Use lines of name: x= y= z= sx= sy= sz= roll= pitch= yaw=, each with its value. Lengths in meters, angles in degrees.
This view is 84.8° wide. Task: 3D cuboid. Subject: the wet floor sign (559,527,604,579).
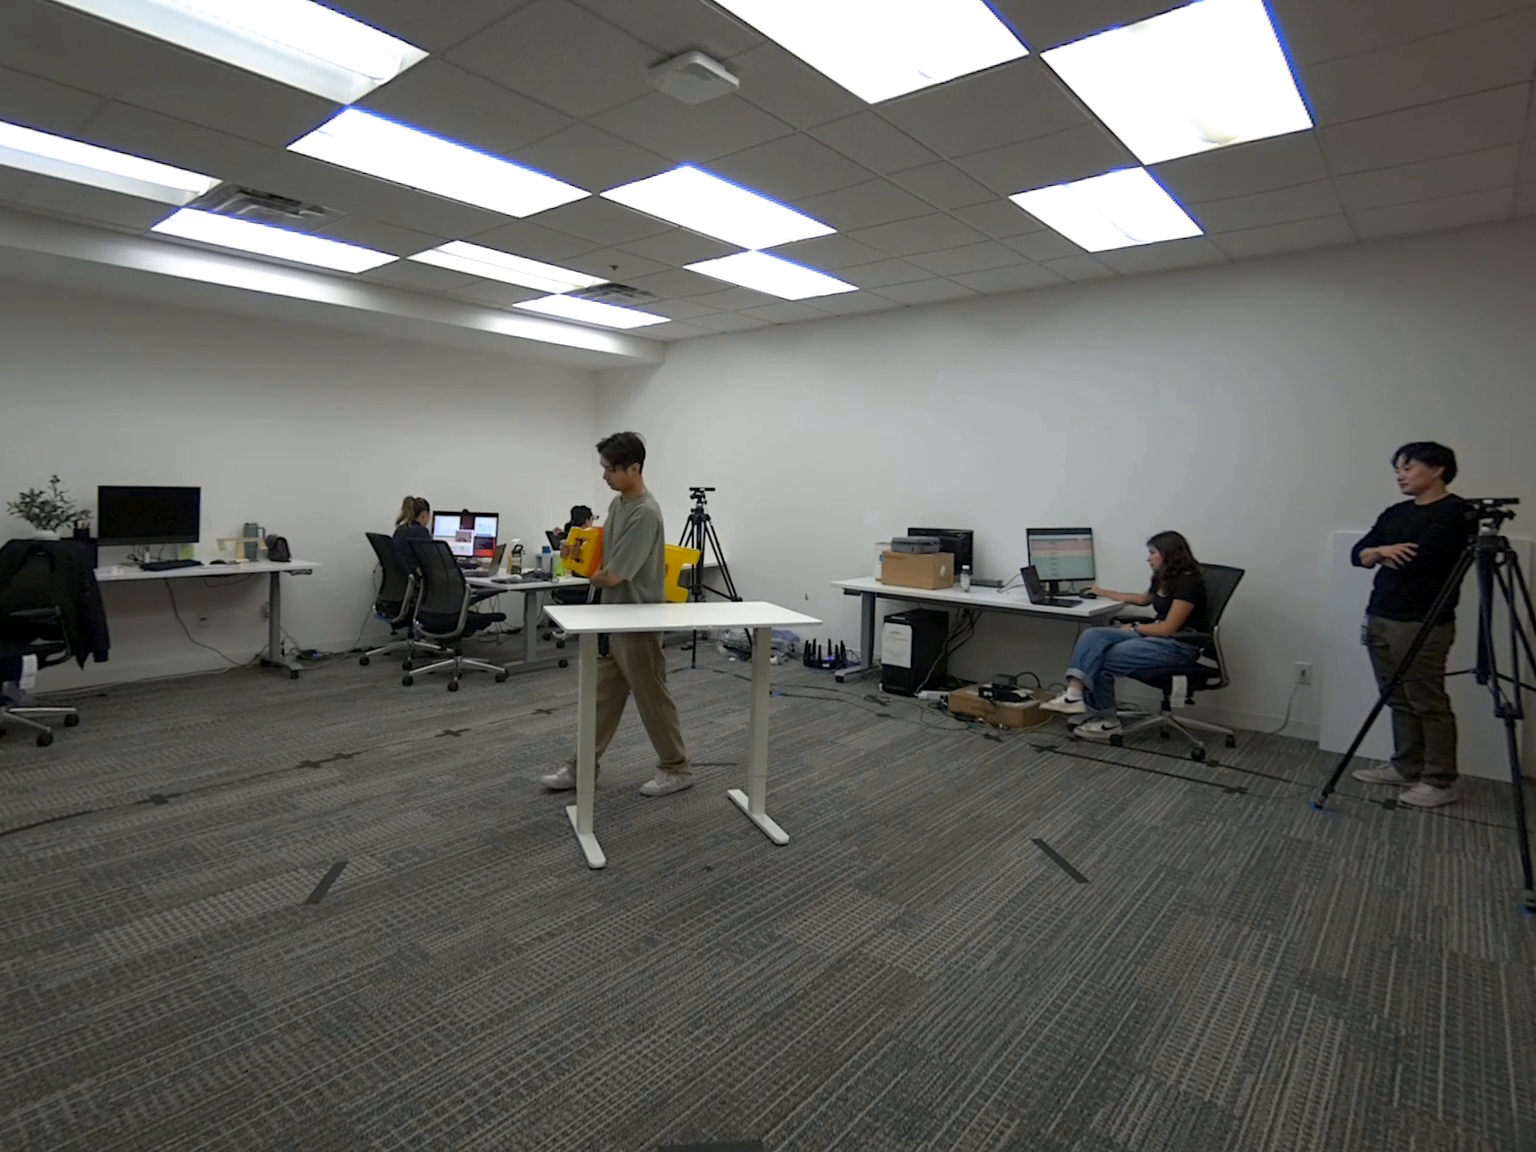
wet floor sign: x=-0.681 y=-0.059 z=4.079 sx=0.625 sy=0.282 sz=0.299 roll=14 pitch=-1 yaw=-30
